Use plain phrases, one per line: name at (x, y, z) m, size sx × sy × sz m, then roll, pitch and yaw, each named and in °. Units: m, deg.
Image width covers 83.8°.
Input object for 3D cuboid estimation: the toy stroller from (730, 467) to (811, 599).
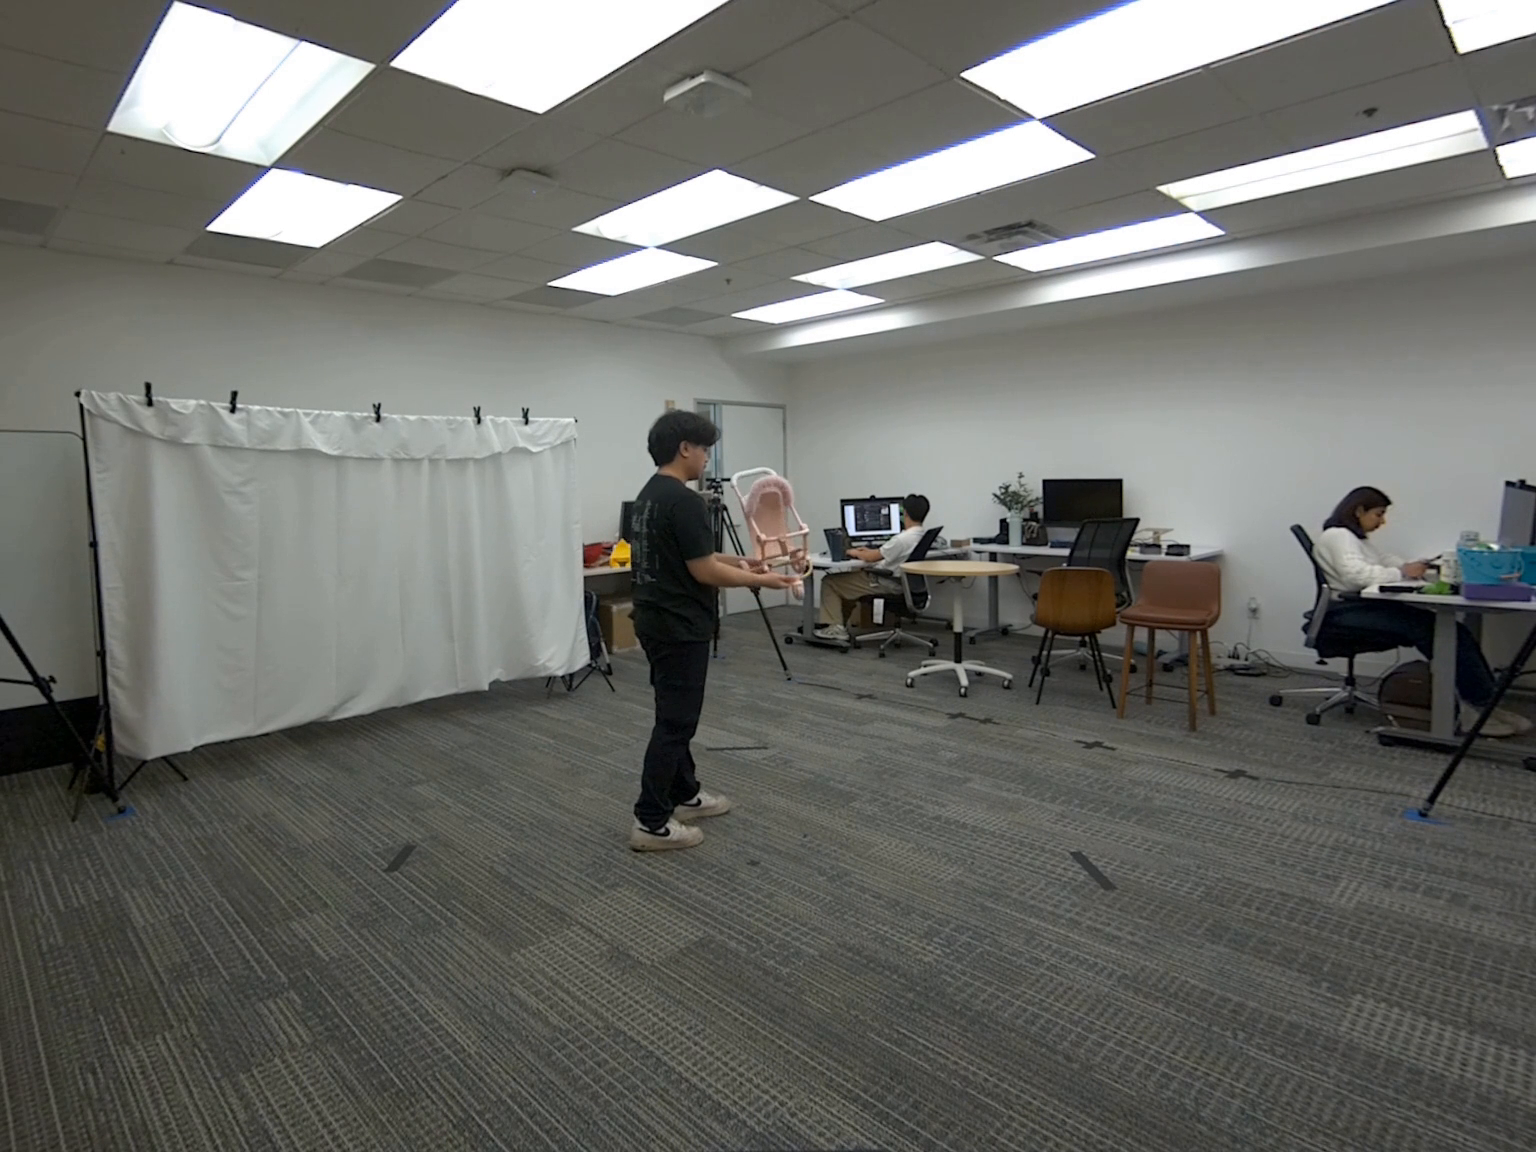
toy stroller at (0.026, -0.172, 3.467) m, size 0.278 × 0.532 × 0.348 m, roll -11°, pitch 6°, yaw -17°
